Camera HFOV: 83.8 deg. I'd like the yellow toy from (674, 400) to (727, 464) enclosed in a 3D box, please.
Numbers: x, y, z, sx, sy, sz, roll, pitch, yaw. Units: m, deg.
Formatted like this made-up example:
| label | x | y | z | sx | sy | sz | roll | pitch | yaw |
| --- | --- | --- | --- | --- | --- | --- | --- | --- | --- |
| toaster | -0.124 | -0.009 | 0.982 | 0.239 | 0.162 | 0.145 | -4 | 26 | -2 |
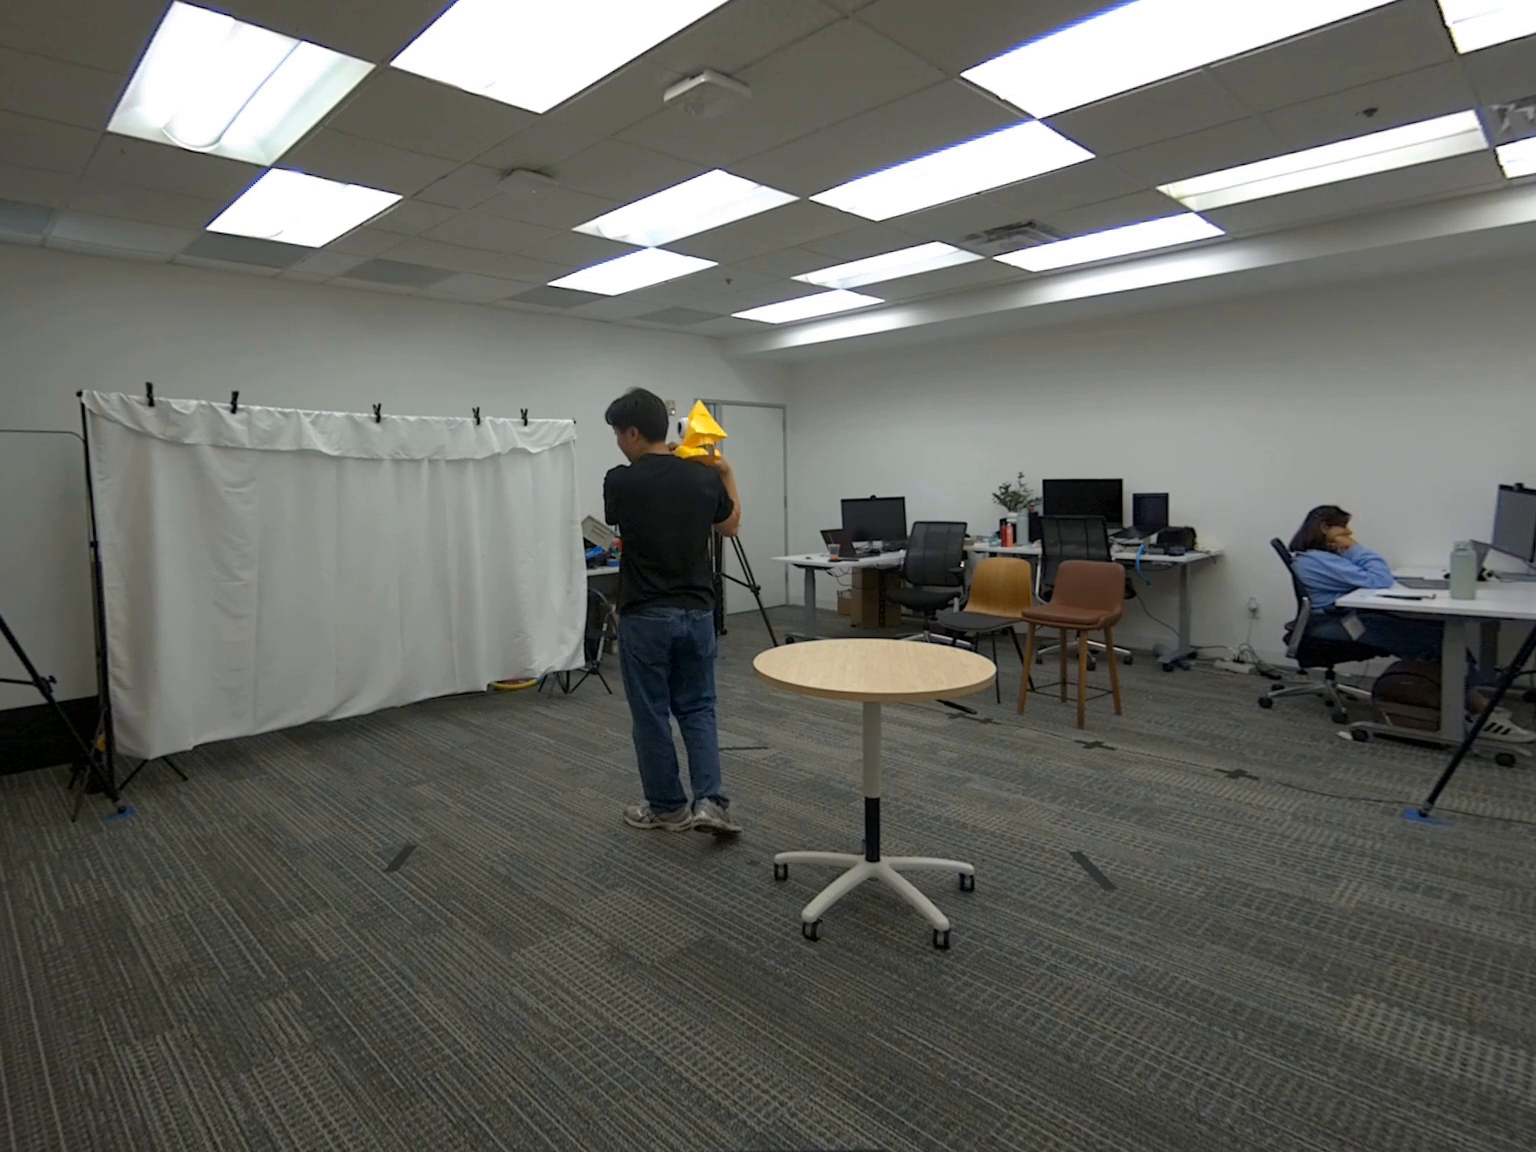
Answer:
| label | x | y | z | sx | sy | sz | roll | pitch | yaw |
| --- | --- | --- | --- | --- | --- | --- | --- | --- | --- |
| yellow toy | -0.298 | -0.563 | 3.364 | 0.196 | 0.233 | 0.199 | -17 | -8 | 34 |
